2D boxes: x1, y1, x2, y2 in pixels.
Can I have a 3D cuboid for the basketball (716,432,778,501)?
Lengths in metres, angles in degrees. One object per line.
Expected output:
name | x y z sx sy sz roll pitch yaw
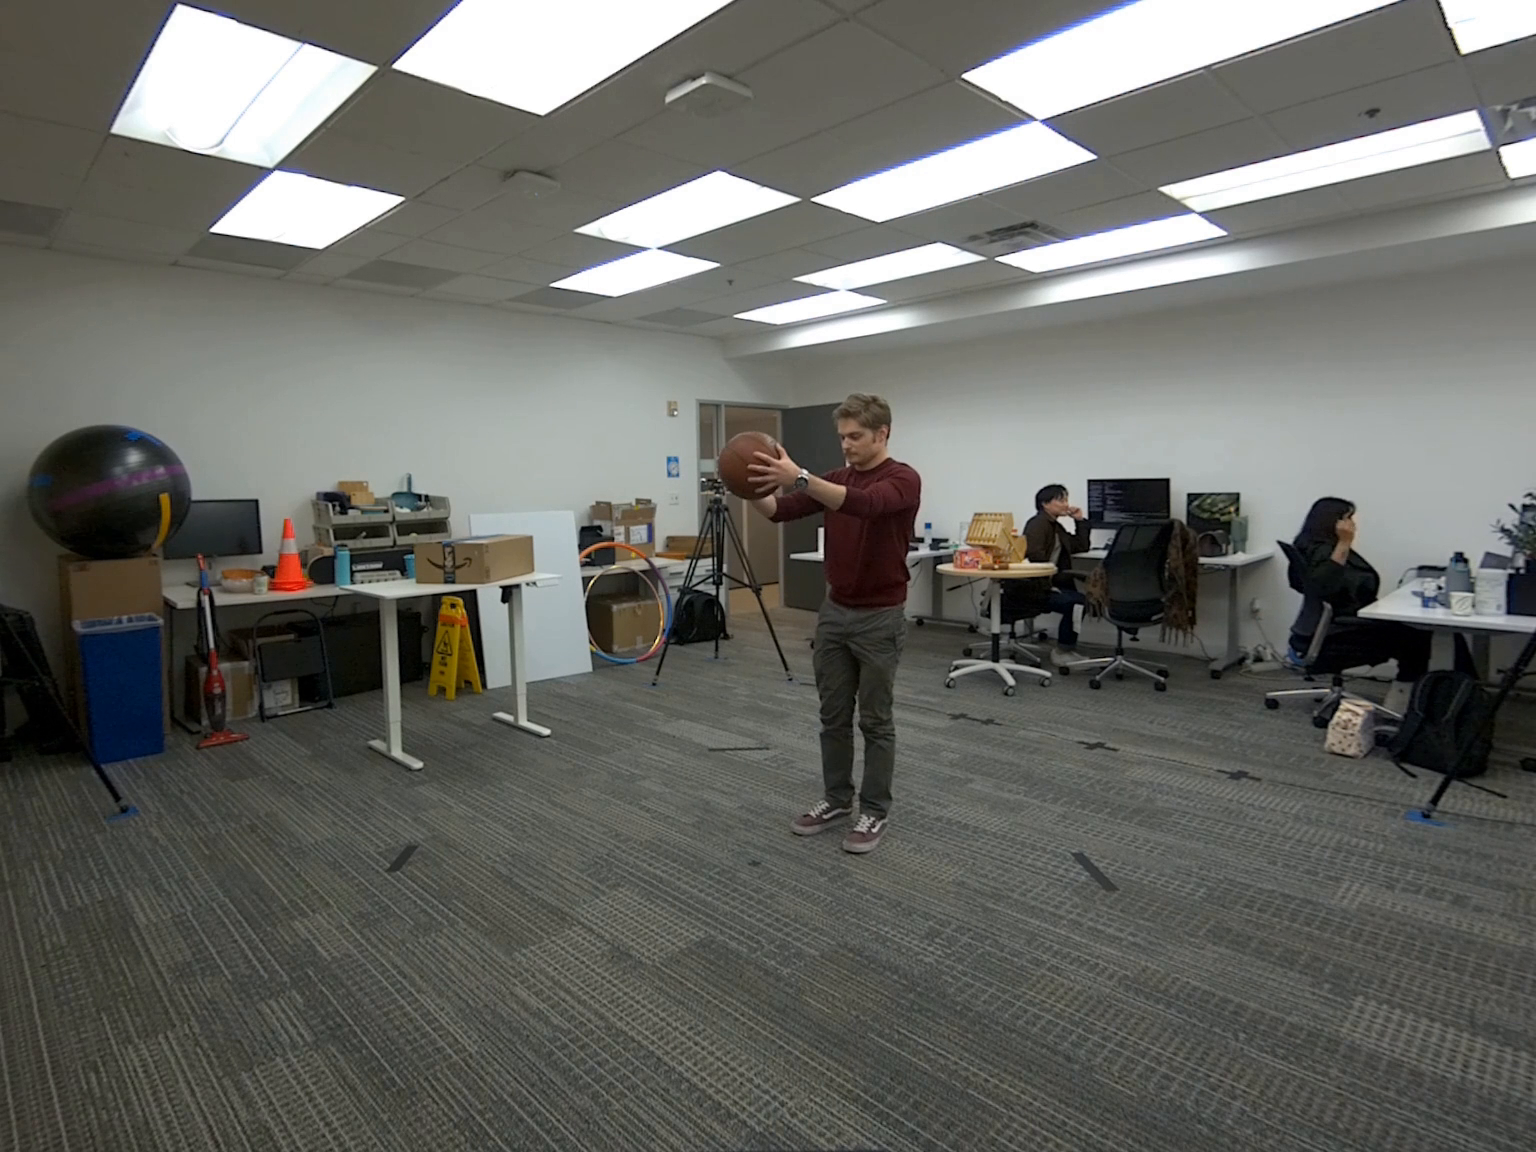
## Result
basketball | -0.053 -0.378 2.988 0.236 0.235 0.237 -1 5 -2
